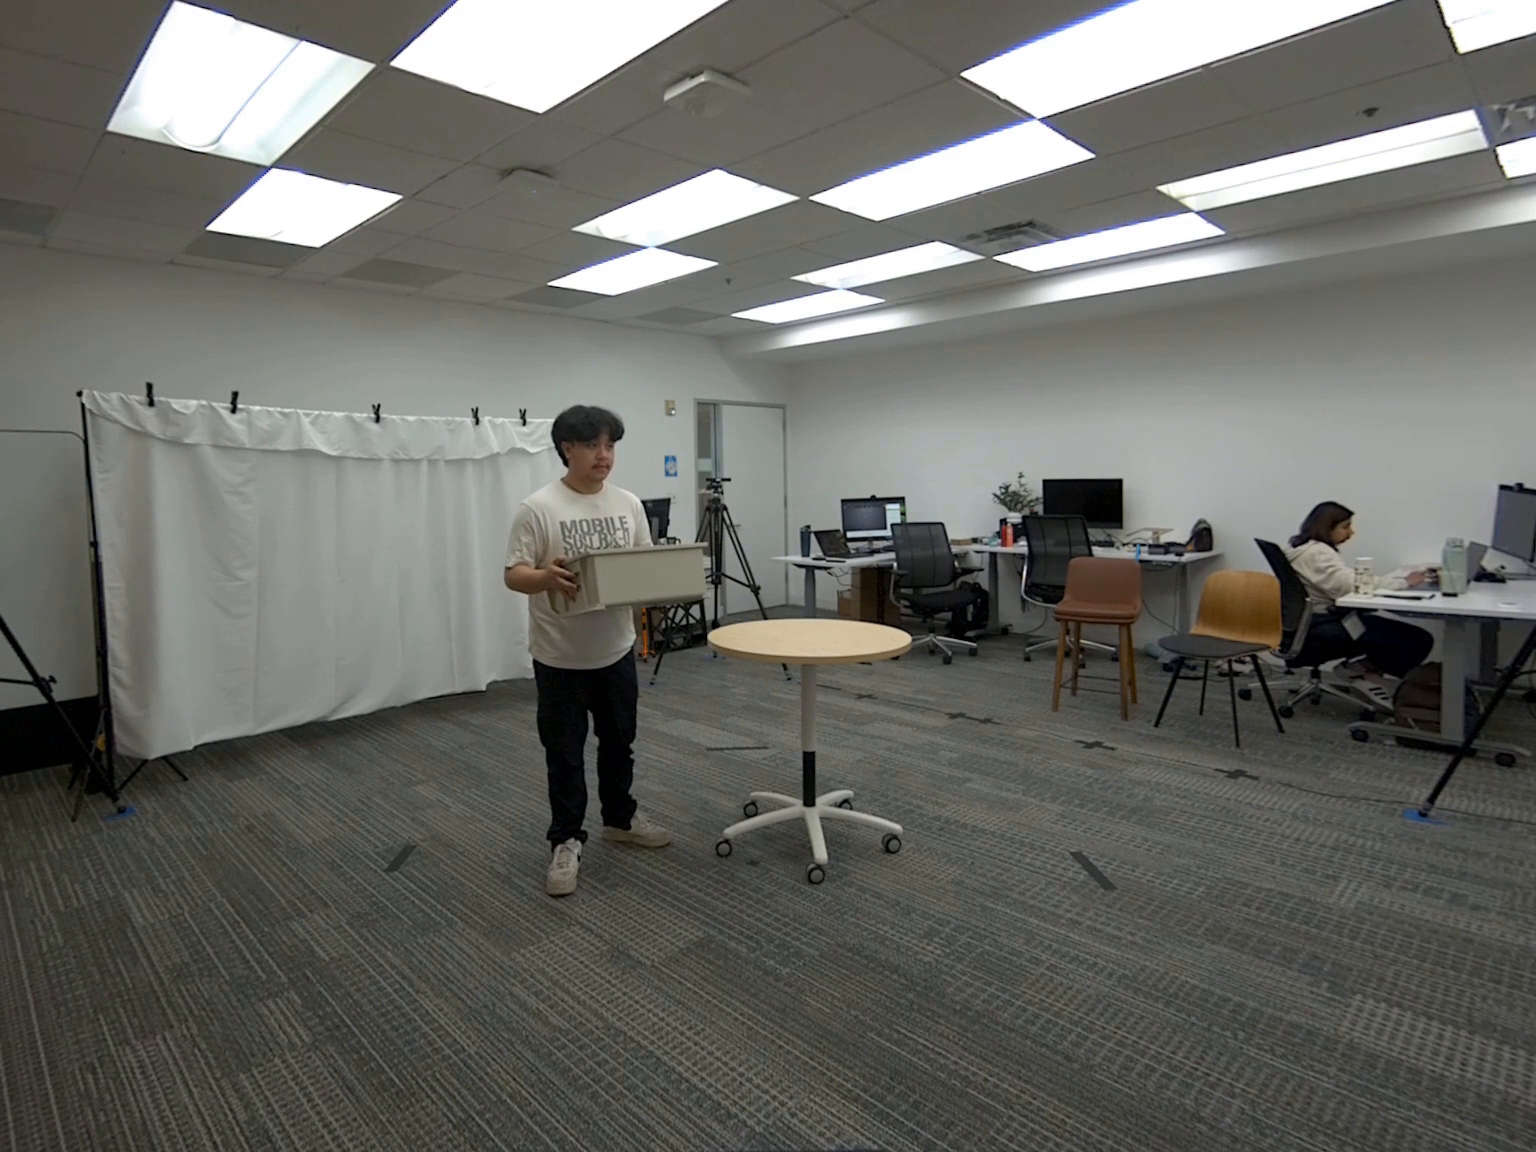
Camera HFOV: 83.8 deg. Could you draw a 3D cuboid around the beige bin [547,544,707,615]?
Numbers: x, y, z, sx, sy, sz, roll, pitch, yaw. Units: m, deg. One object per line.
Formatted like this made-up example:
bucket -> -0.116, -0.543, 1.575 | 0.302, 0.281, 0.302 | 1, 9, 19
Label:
beige bin -> -0.462, 0.016, 2.810 | 0.412, 0.190, 0.385 | -4, -3, -33
